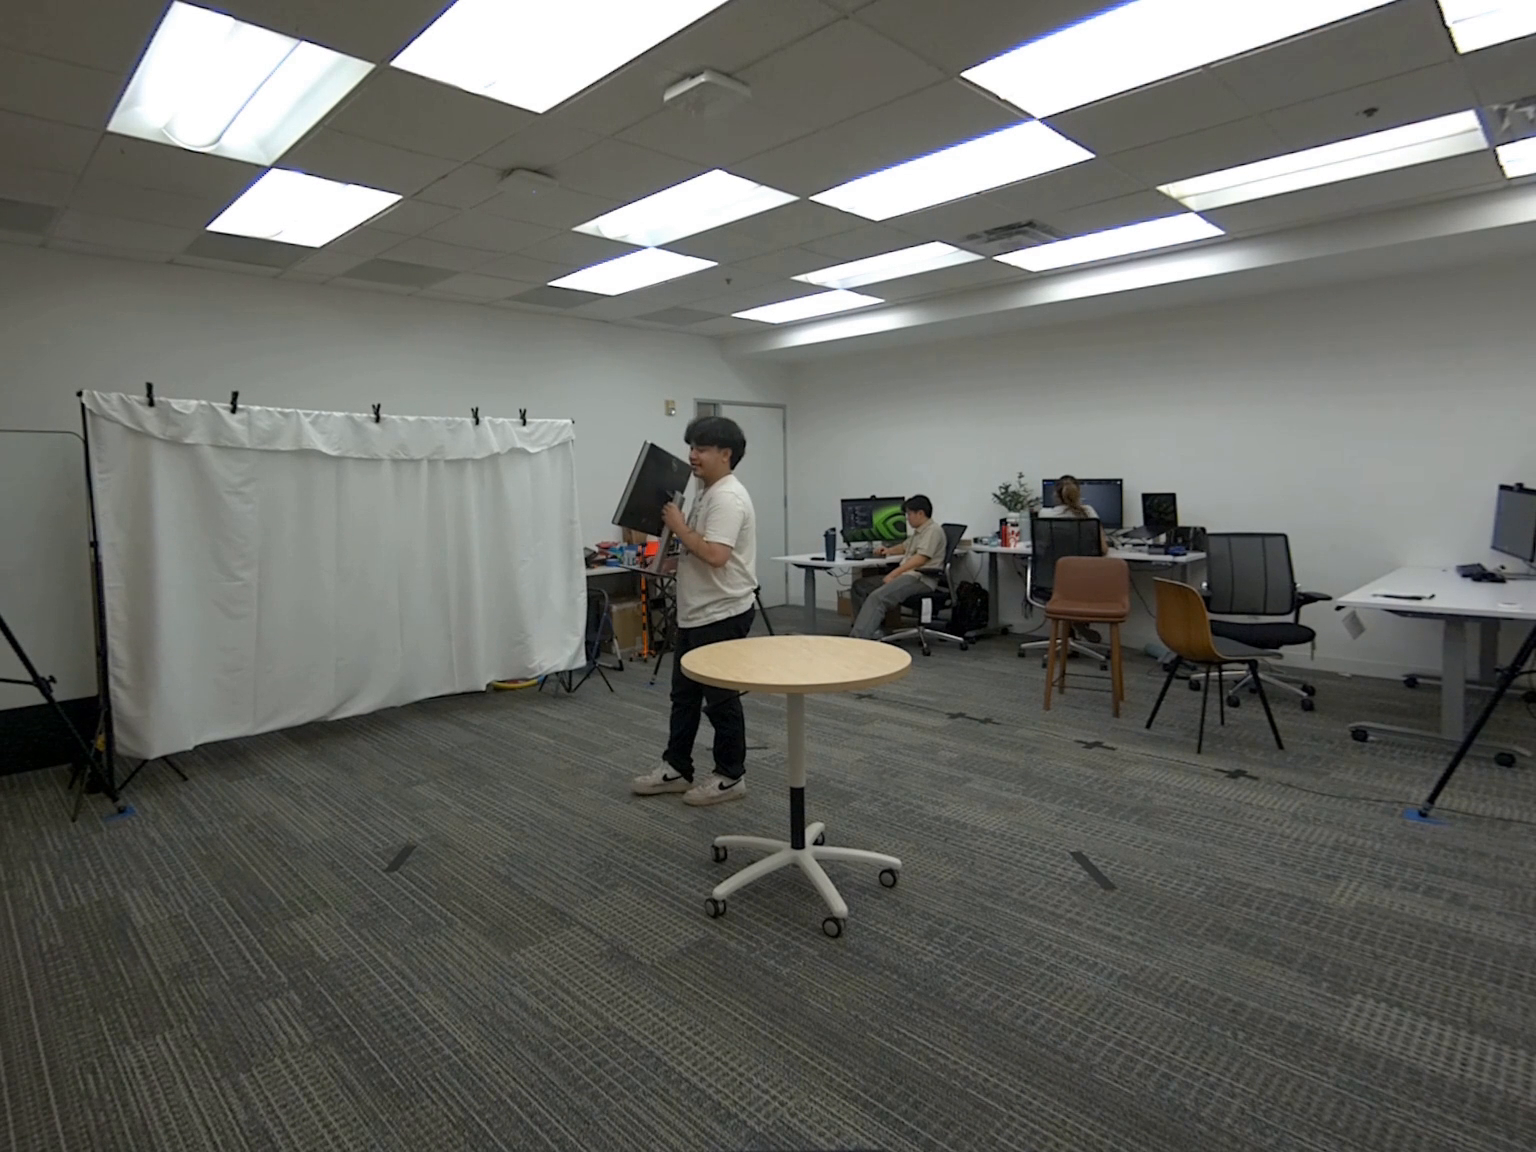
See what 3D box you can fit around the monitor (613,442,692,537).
[{"bbox_3d":[-0.442,-0.257,3.668,0.214,0.555,0.554,15,-2,15],"label":"monitor"}]
